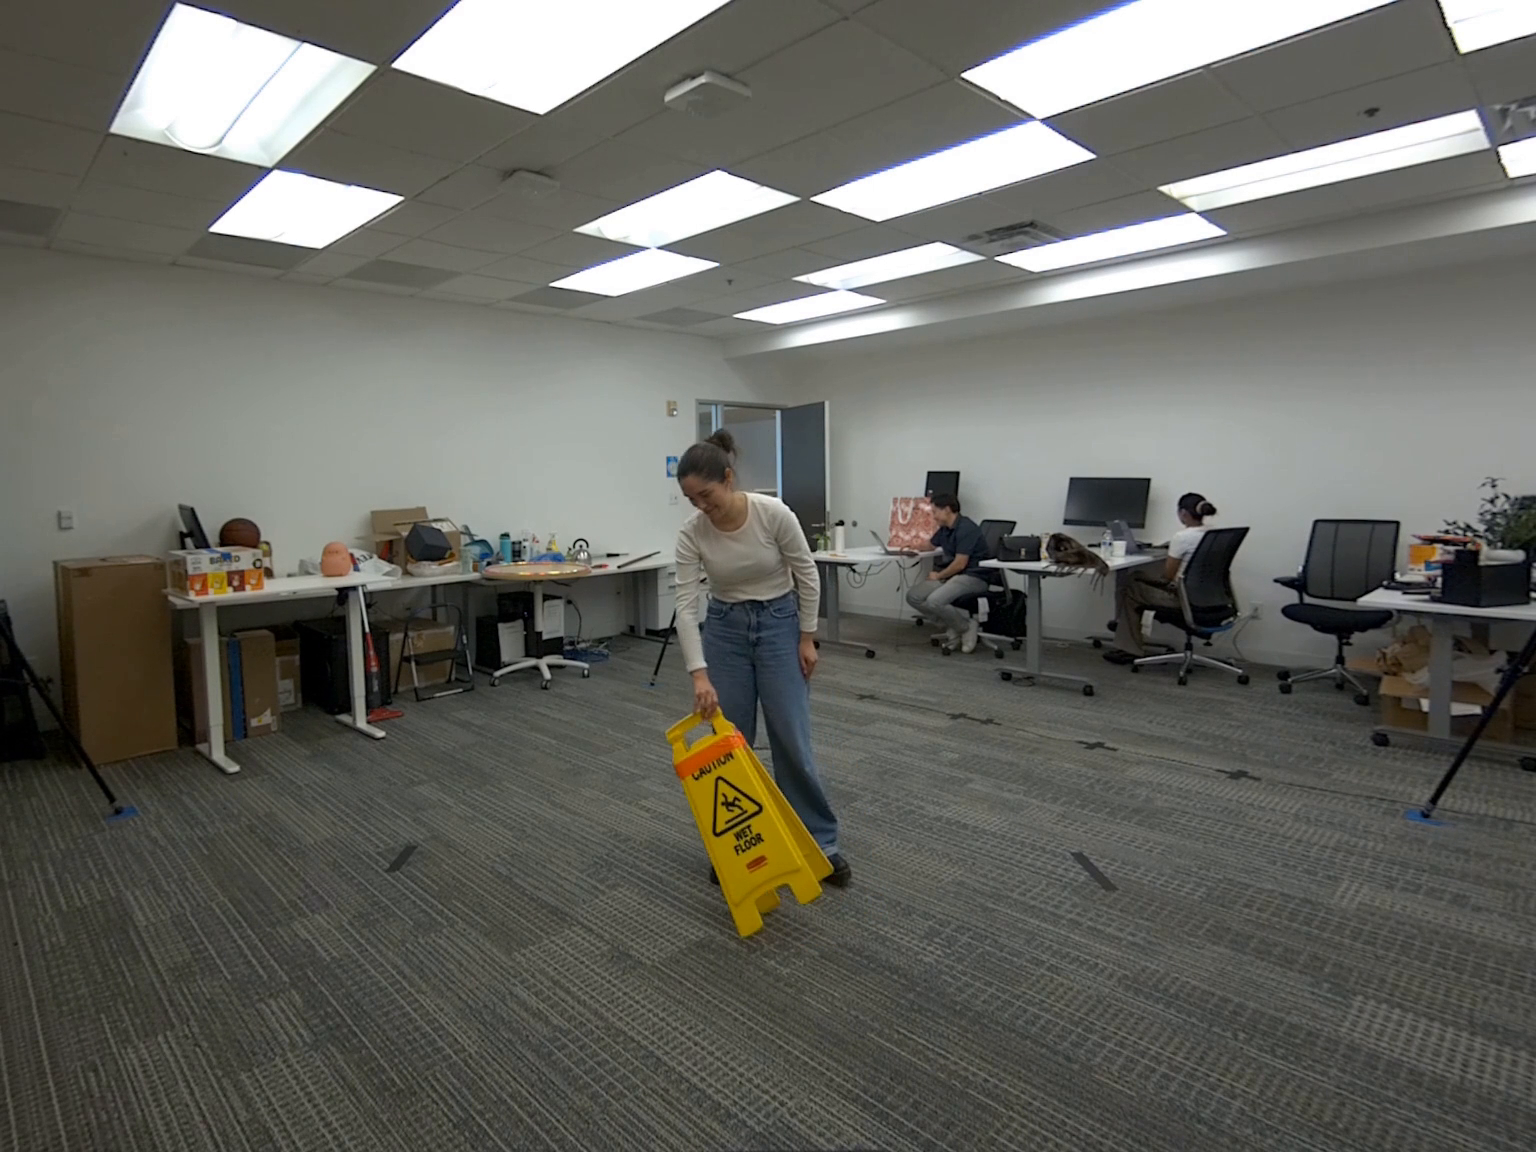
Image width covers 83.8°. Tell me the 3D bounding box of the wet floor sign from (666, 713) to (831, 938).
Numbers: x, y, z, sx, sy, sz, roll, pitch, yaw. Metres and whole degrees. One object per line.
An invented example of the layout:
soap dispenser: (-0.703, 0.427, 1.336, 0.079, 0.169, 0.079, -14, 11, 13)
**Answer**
wet floor sign: (-0.088, 0.740, 2.700, 0.283, 0.658, 0.283, -30, -15, 8)
